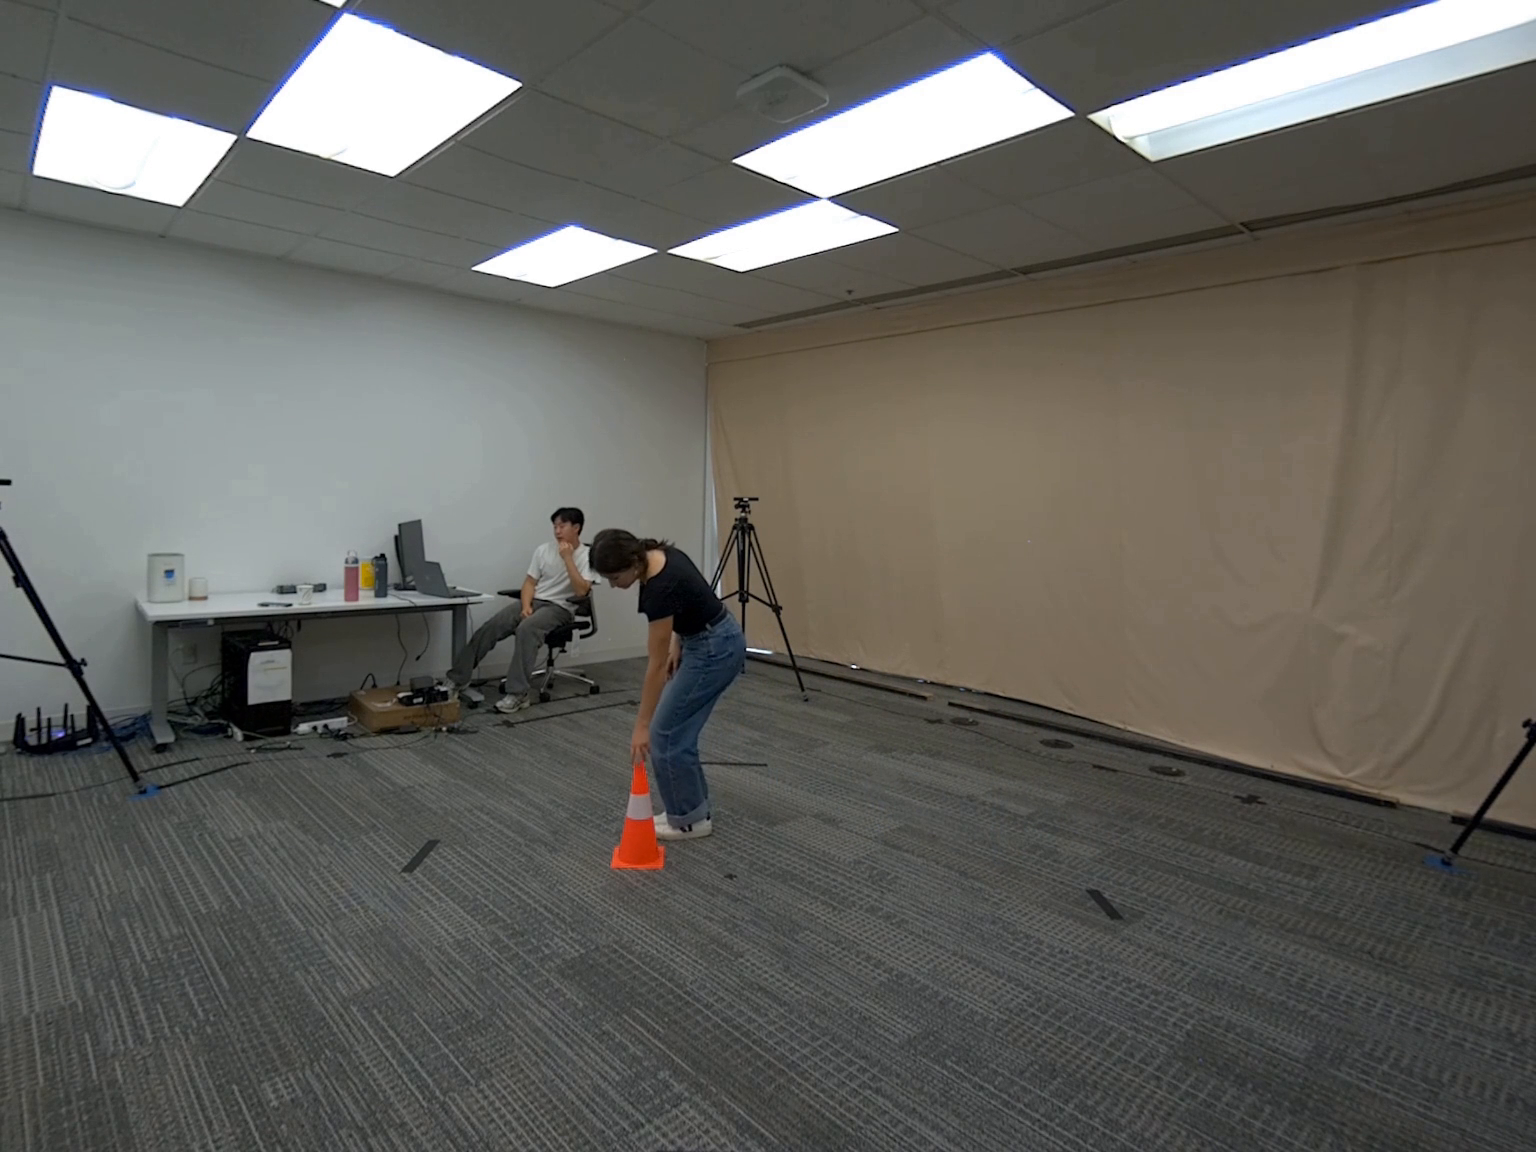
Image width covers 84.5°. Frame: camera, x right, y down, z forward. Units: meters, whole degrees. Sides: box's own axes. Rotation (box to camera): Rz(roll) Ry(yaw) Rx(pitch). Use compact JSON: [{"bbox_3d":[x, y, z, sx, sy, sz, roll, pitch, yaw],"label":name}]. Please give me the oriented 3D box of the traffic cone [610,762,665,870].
[{"bbox_3d":[-0.502,0.913,3.228,0.205,0.381,0.204,4,9,1],"label":"traffic cone"}]
